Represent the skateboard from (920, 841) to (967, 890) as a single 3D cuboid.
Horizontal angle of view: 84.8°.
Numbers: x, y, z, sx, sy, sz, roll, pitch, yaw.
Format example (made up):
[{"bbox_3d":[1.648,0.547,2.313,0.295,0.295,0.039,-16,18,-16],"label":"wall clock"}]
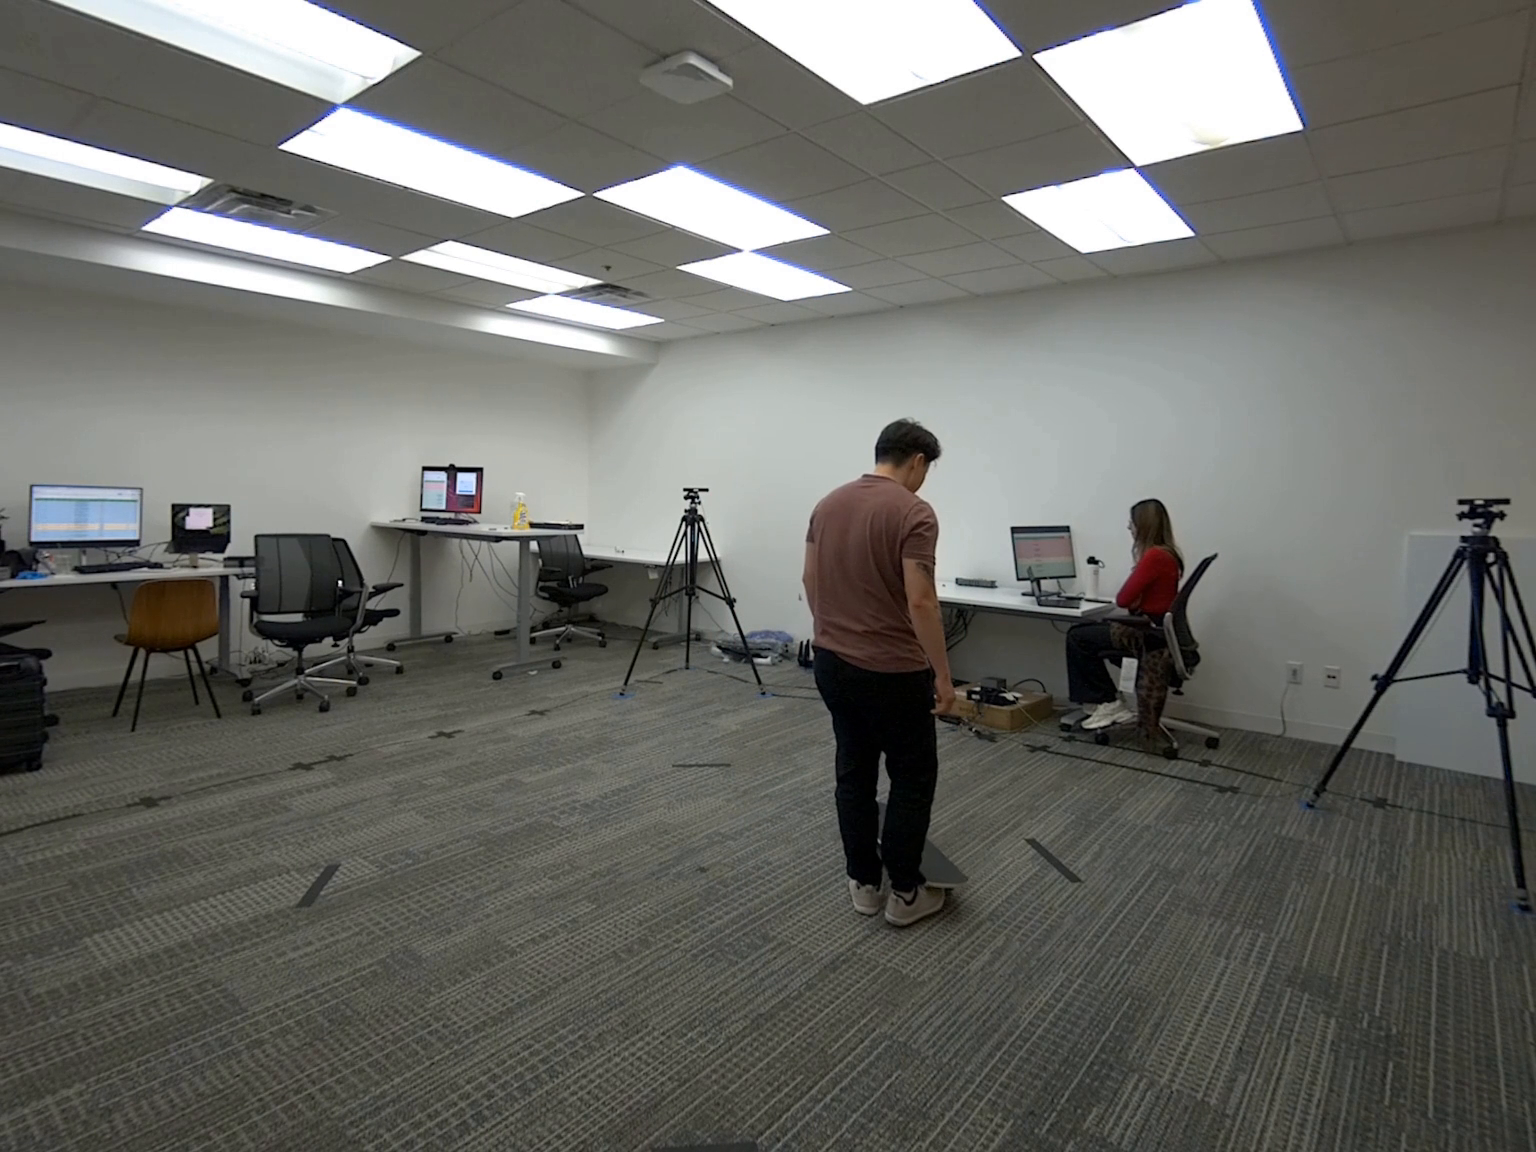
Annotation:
[{"bbox_3d":[0.504,1.014,3.161,0.191,0.110,0.797,1,5,-12],"label":"skateboard"}]
